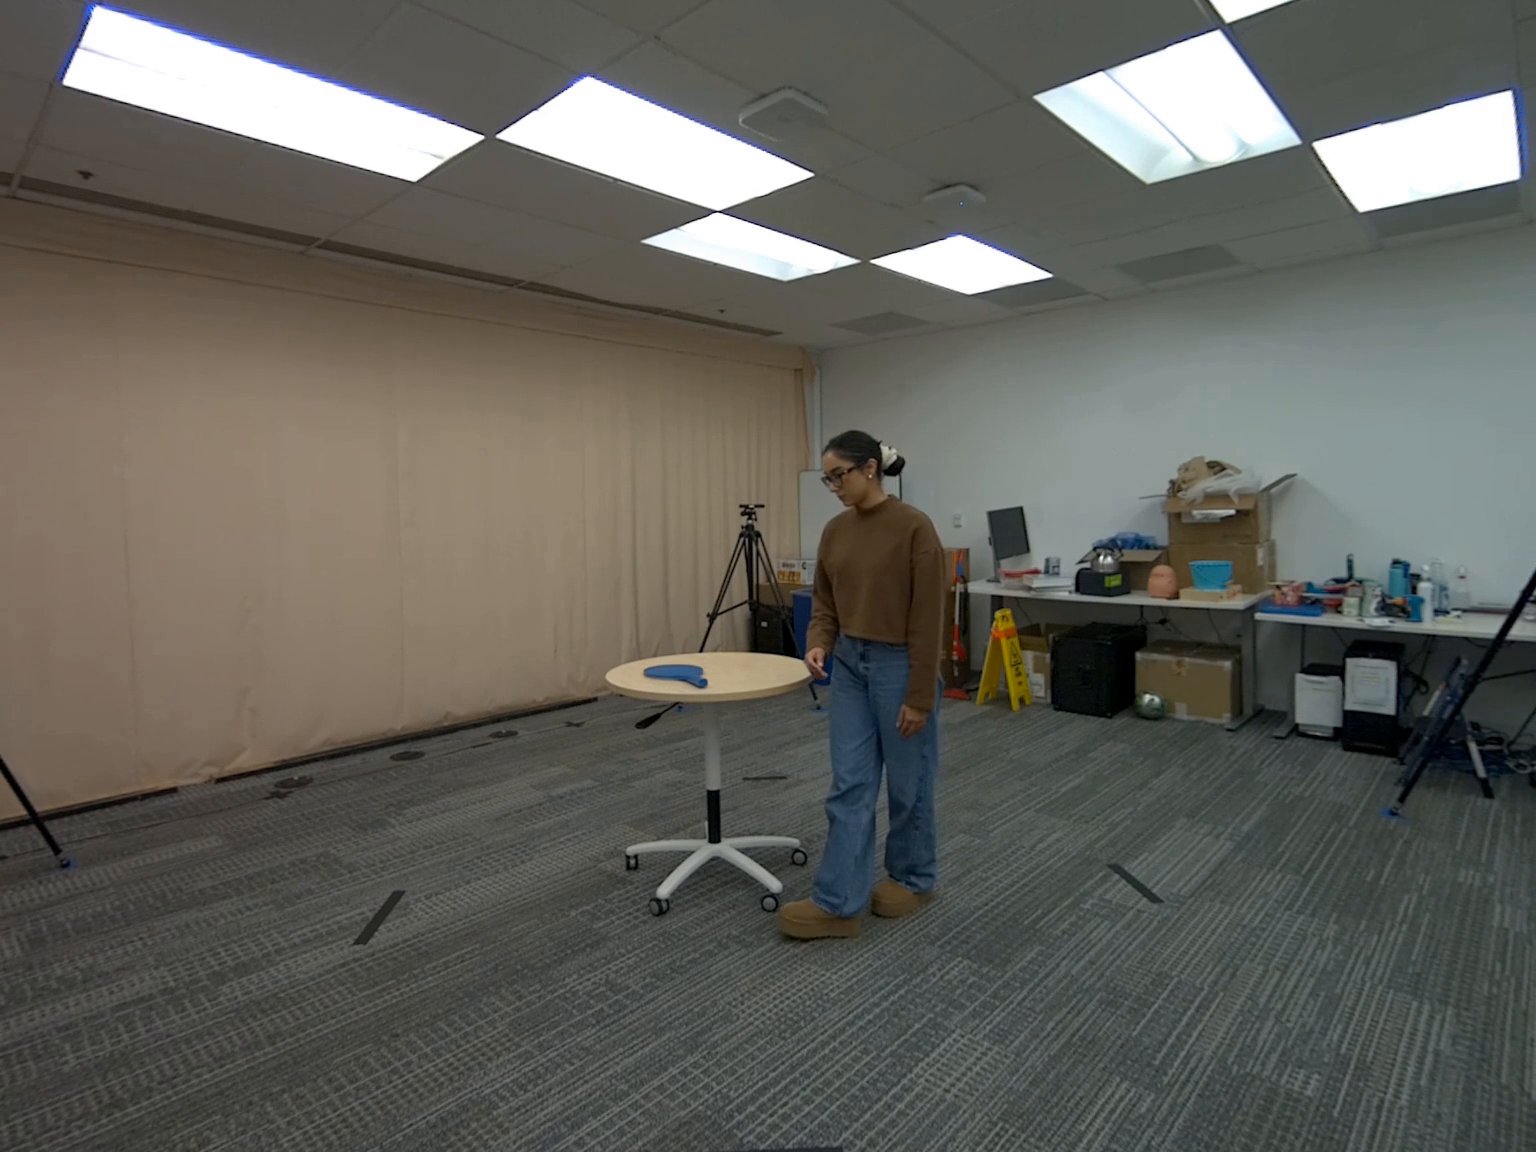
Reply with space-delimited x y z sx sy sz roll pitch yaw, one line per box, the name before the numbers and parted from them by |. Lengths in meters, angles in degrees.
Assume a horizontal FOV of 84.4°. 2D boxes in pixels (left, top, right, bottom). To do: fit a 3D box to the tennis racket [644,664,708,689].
tennis racket | -0.306 0.354 3.006 0.209 0.032 0.444 -4 4 -25
